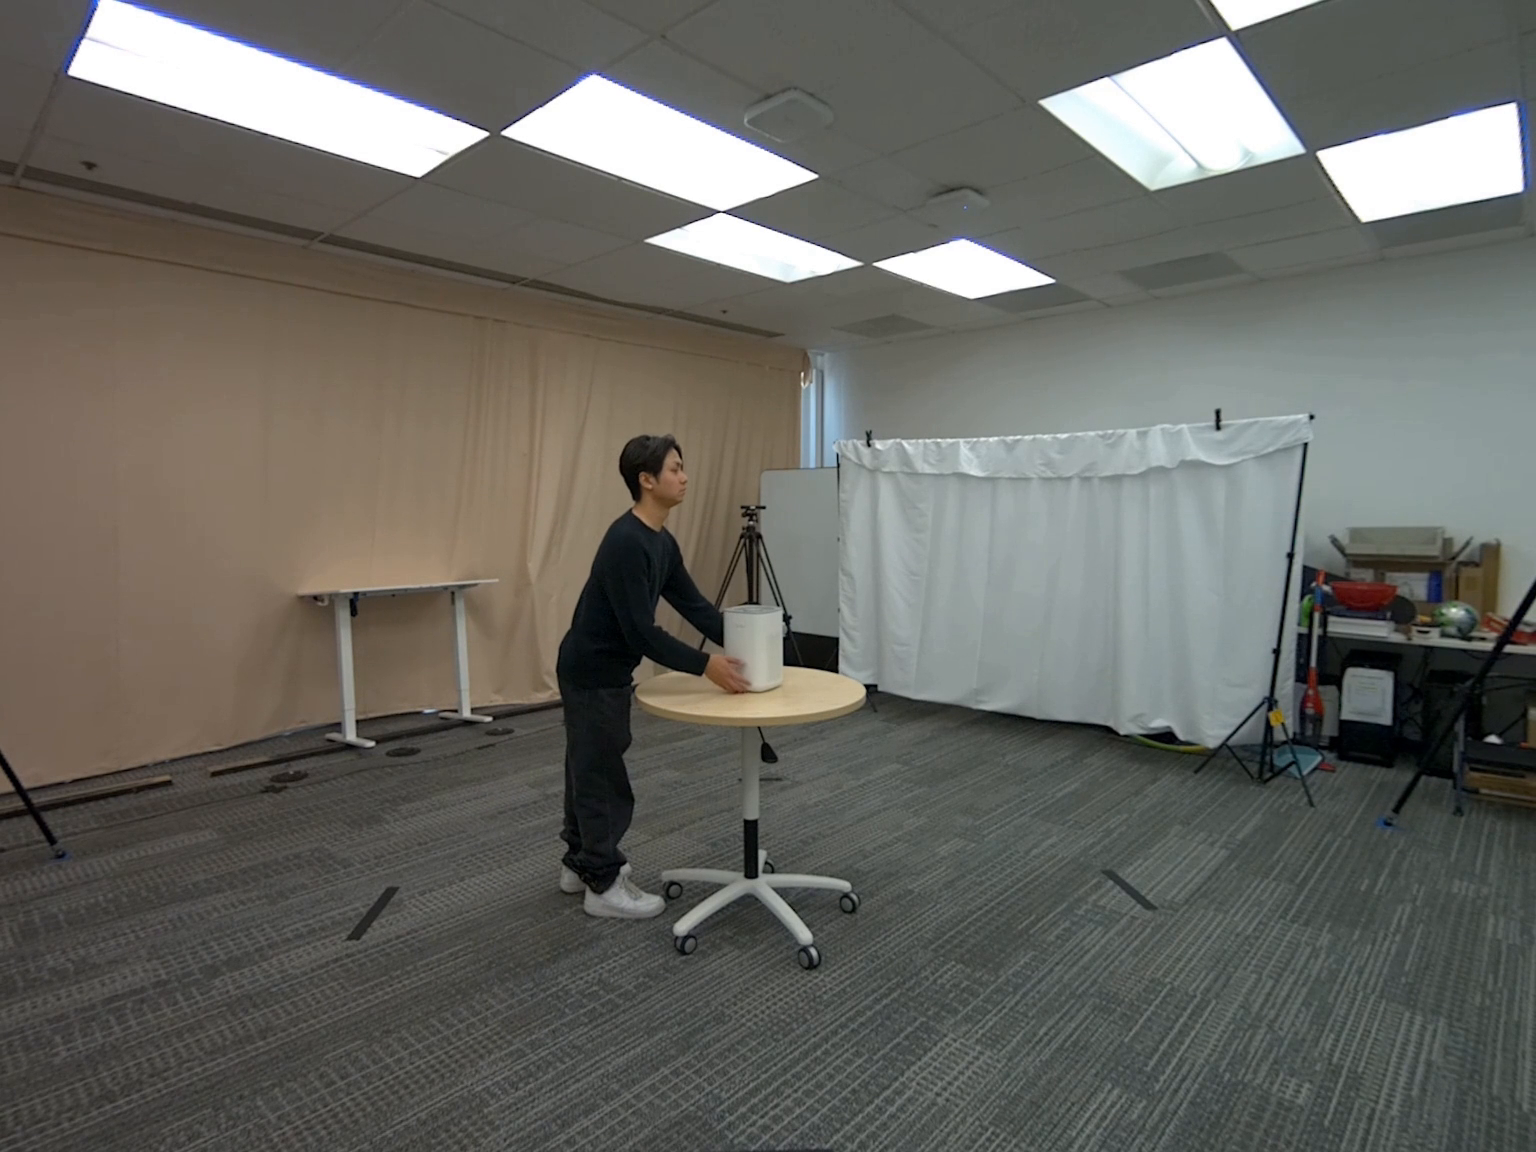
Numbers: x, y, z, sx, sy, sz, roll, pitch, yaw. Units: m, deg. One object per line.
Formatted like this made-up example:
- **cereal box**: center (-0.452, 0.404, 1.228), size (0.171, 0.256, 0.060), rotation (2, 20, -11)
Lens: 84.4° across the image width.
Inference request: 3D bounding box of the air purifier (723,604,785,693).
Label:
- **air purifier**: center (-0.045, 0.238, 2.796), size (0.176, 0.265, 0.167), rotation (1, 2, 31)
